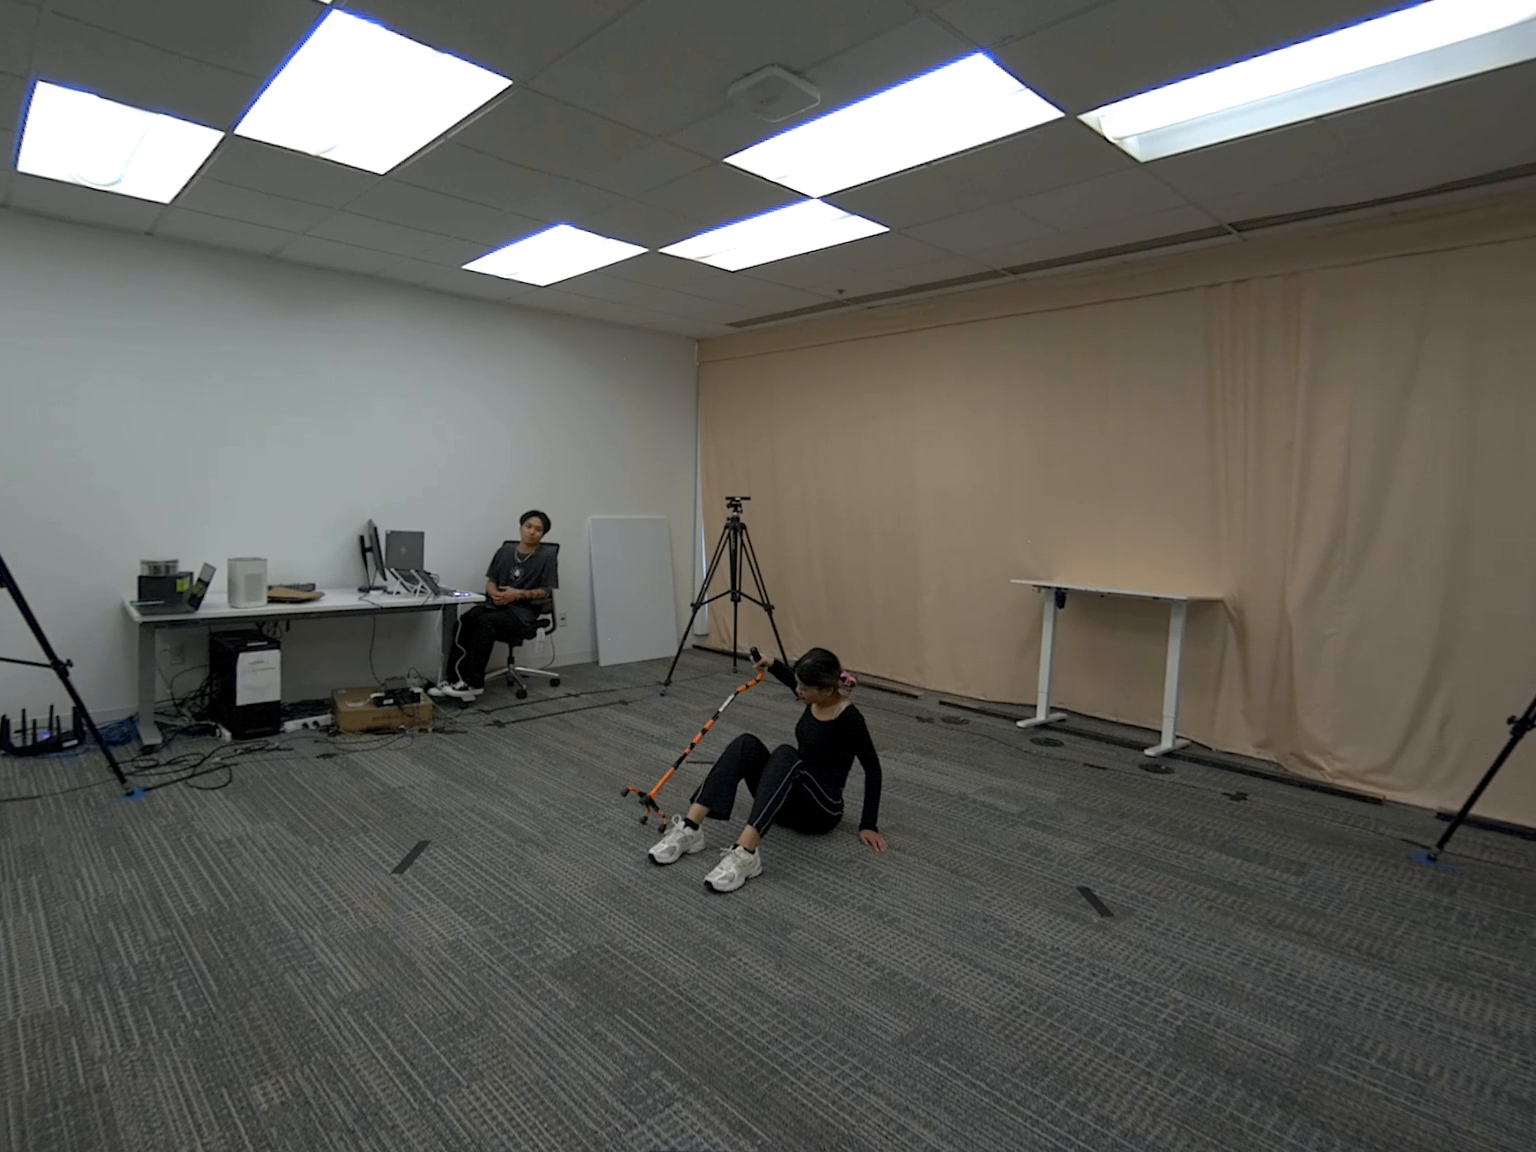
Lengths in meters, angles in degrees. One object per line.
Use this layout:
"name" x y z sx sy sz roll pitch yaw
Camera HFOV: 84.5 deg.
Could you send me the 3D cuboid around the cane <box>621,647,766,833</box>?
"cane" -0.280 0.686 3.736 0.155 0.201 0.908 5 43 43
